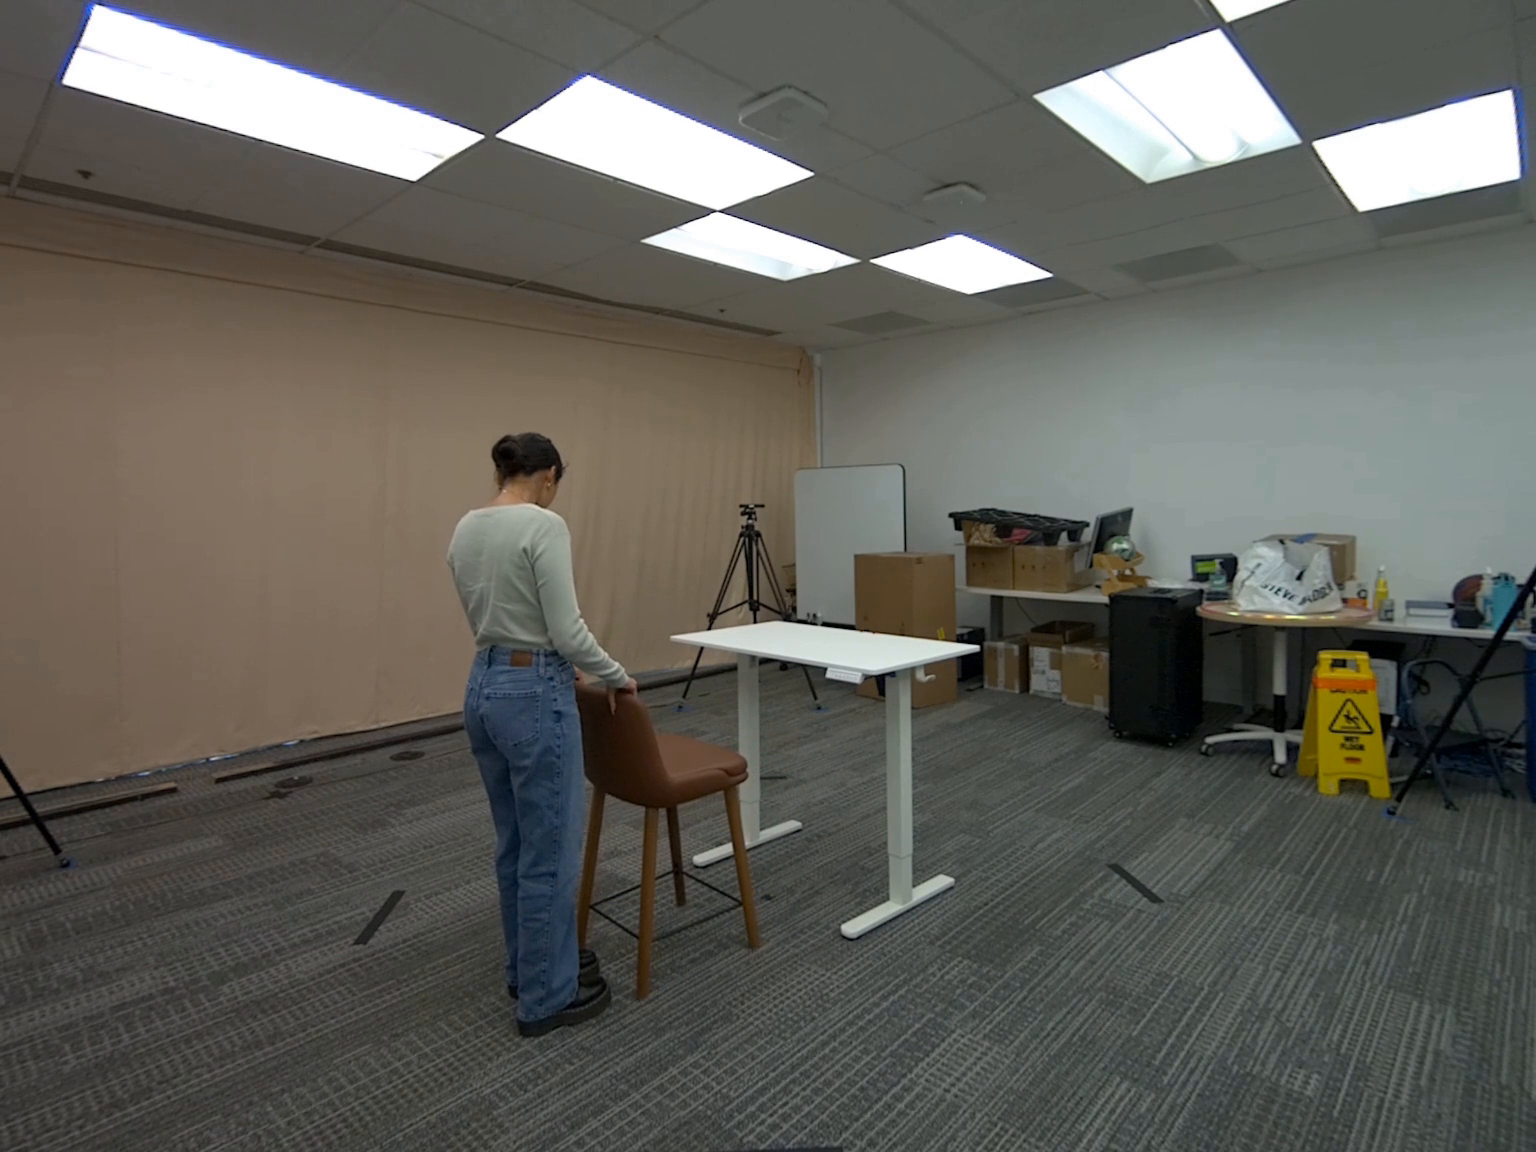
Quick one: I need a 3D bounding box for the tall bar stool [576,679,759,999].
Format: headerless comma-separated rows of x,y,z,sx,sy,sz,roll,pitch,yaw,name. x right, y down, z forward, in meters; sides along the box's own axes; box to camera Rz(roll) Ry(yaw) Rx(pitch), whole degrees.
-0.341,0.736,2.627,0.454,0.887,0.471,-6,6,-41,tall bar stool
